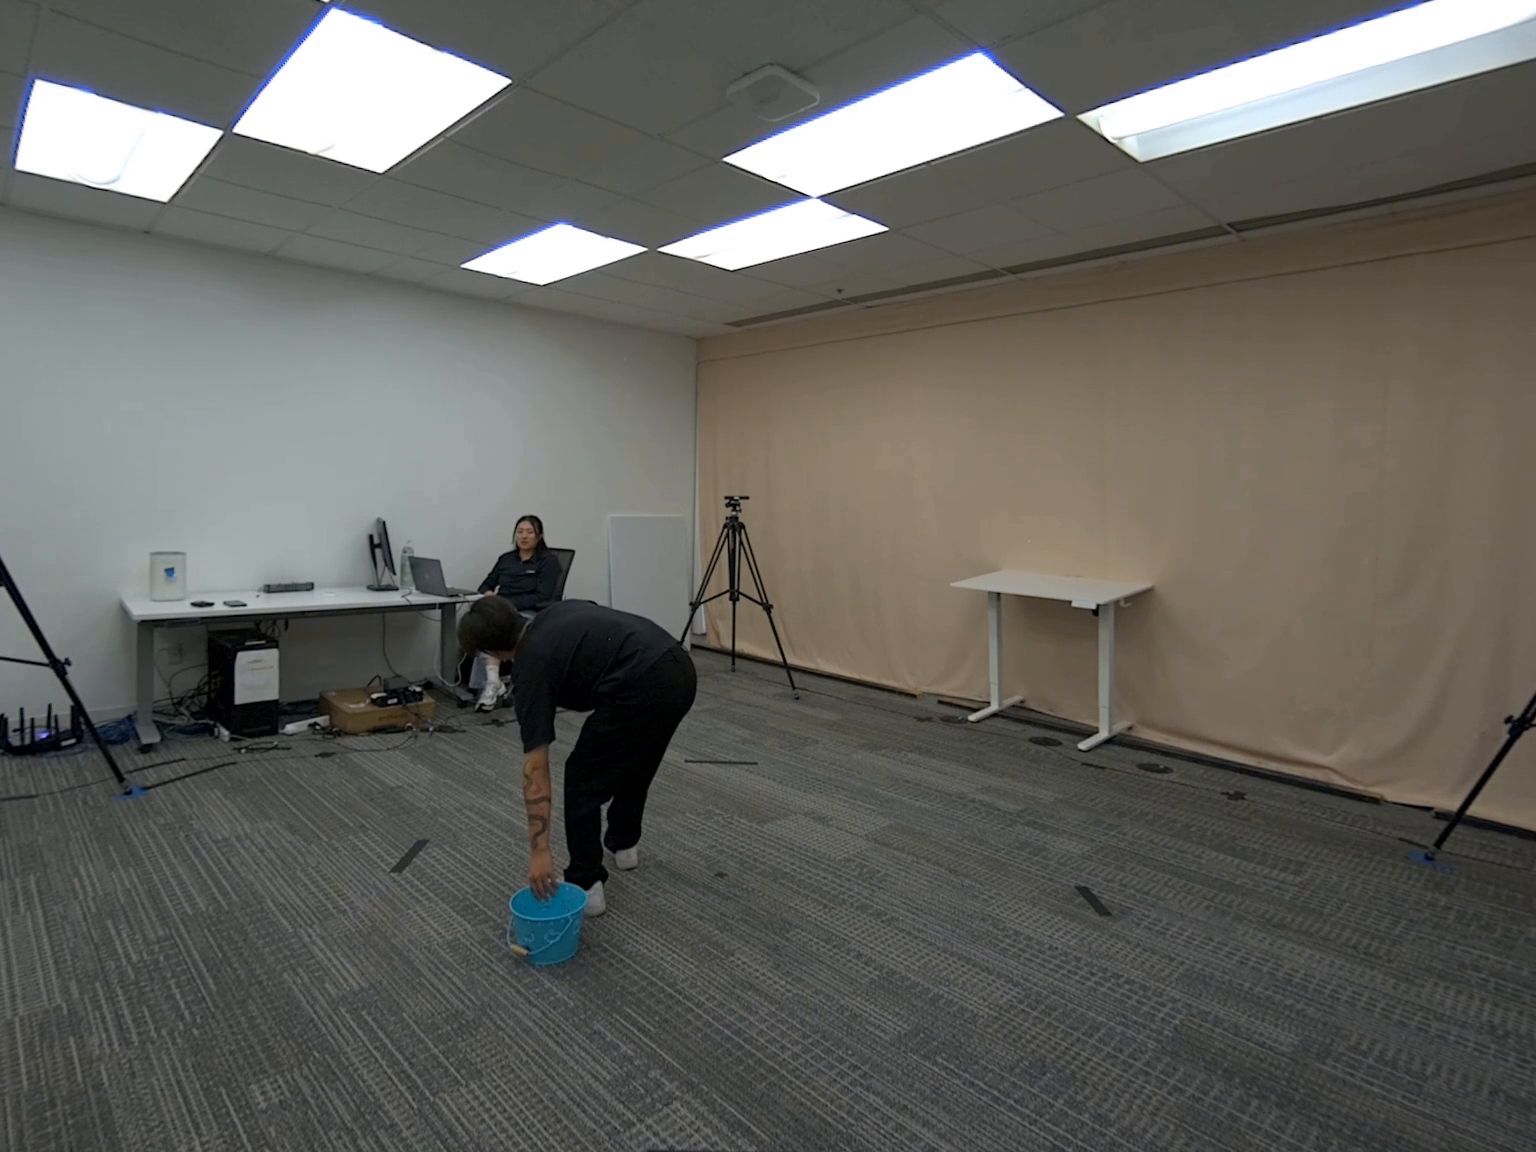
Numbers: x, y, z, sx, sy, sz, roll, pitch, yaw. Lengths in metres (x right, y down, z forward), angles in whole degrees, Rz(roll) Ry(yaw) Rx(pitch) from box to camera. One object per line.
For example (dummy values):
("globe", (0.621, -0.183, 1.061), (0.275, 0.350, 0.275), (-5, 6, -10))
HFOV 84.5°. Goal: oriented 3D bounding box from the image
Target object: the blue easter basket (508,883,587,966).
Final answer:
("blue easter basket", (-0.681, 1.068, 2.565), (0.243, 0.155, 0.245), (2, 6, -2))
